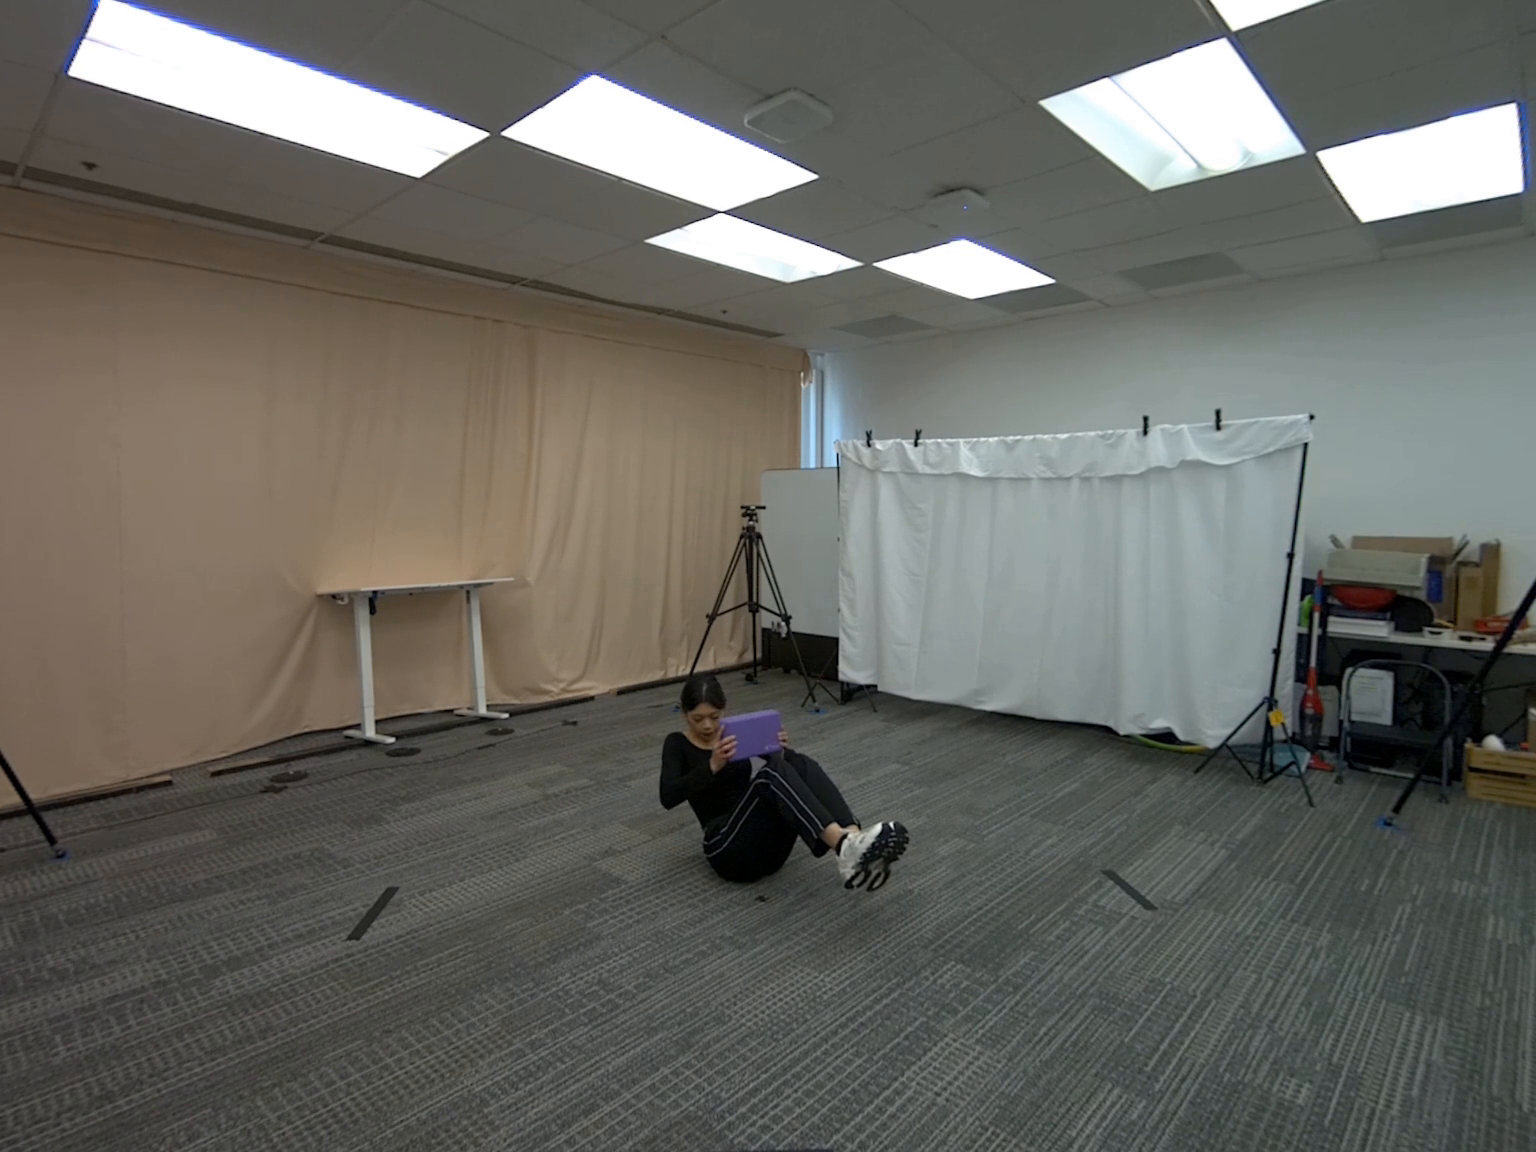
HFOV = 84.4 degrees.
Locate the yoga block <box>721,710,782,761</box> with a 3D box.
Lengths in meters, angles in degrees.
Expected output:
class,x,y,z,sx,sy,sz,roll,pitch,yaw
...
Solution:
class,x,y,z,sx,sy,sz,roll,pitch,yaw
yoga block,-0.071,0.587,3.091,0.225,0.149,0.078,-4,-2,-20
